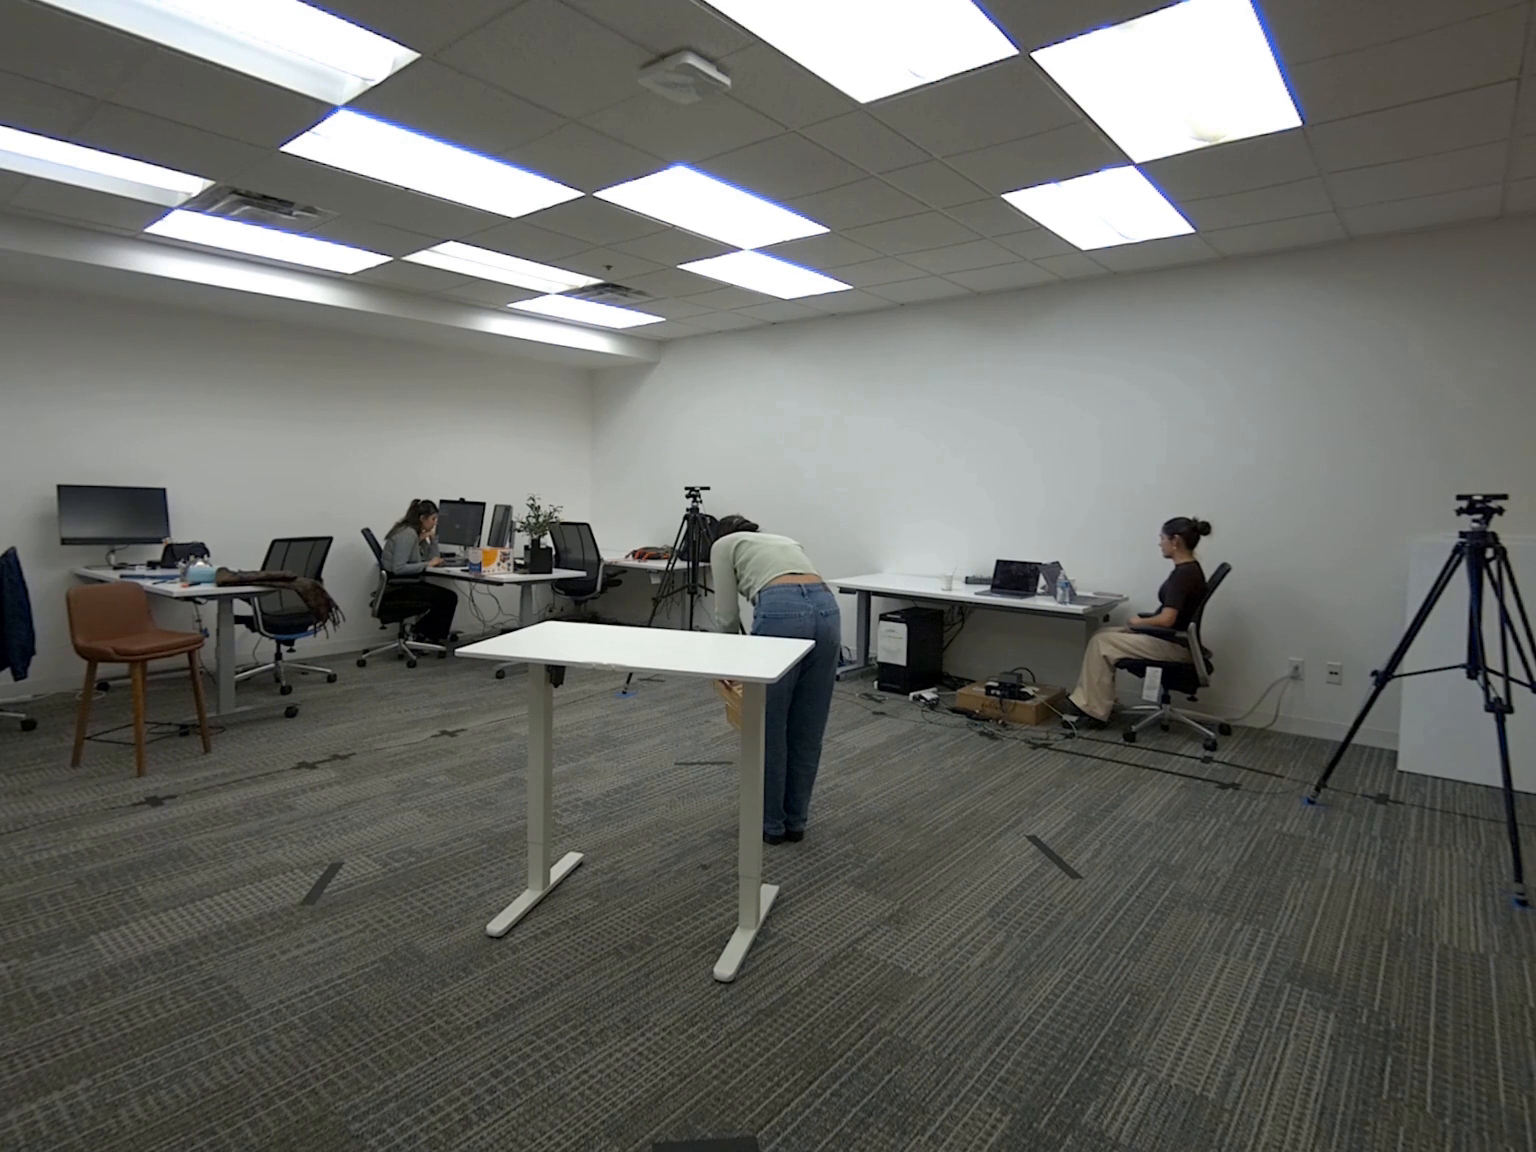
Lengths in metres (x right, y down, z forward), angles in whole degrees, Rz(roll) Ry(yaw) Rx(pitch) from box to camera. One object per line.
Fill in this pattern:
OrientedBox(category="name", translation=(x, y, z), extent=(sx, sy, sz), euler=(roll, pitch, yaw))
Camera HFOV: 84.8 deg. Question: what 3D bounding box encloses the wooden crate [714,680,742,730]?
OrientedBox(category="wooden crate", translation=(-0.036, 0.532, 3.631), extent=(0.297, 0.269, 0.335), euler=(-9, 17, -21))
